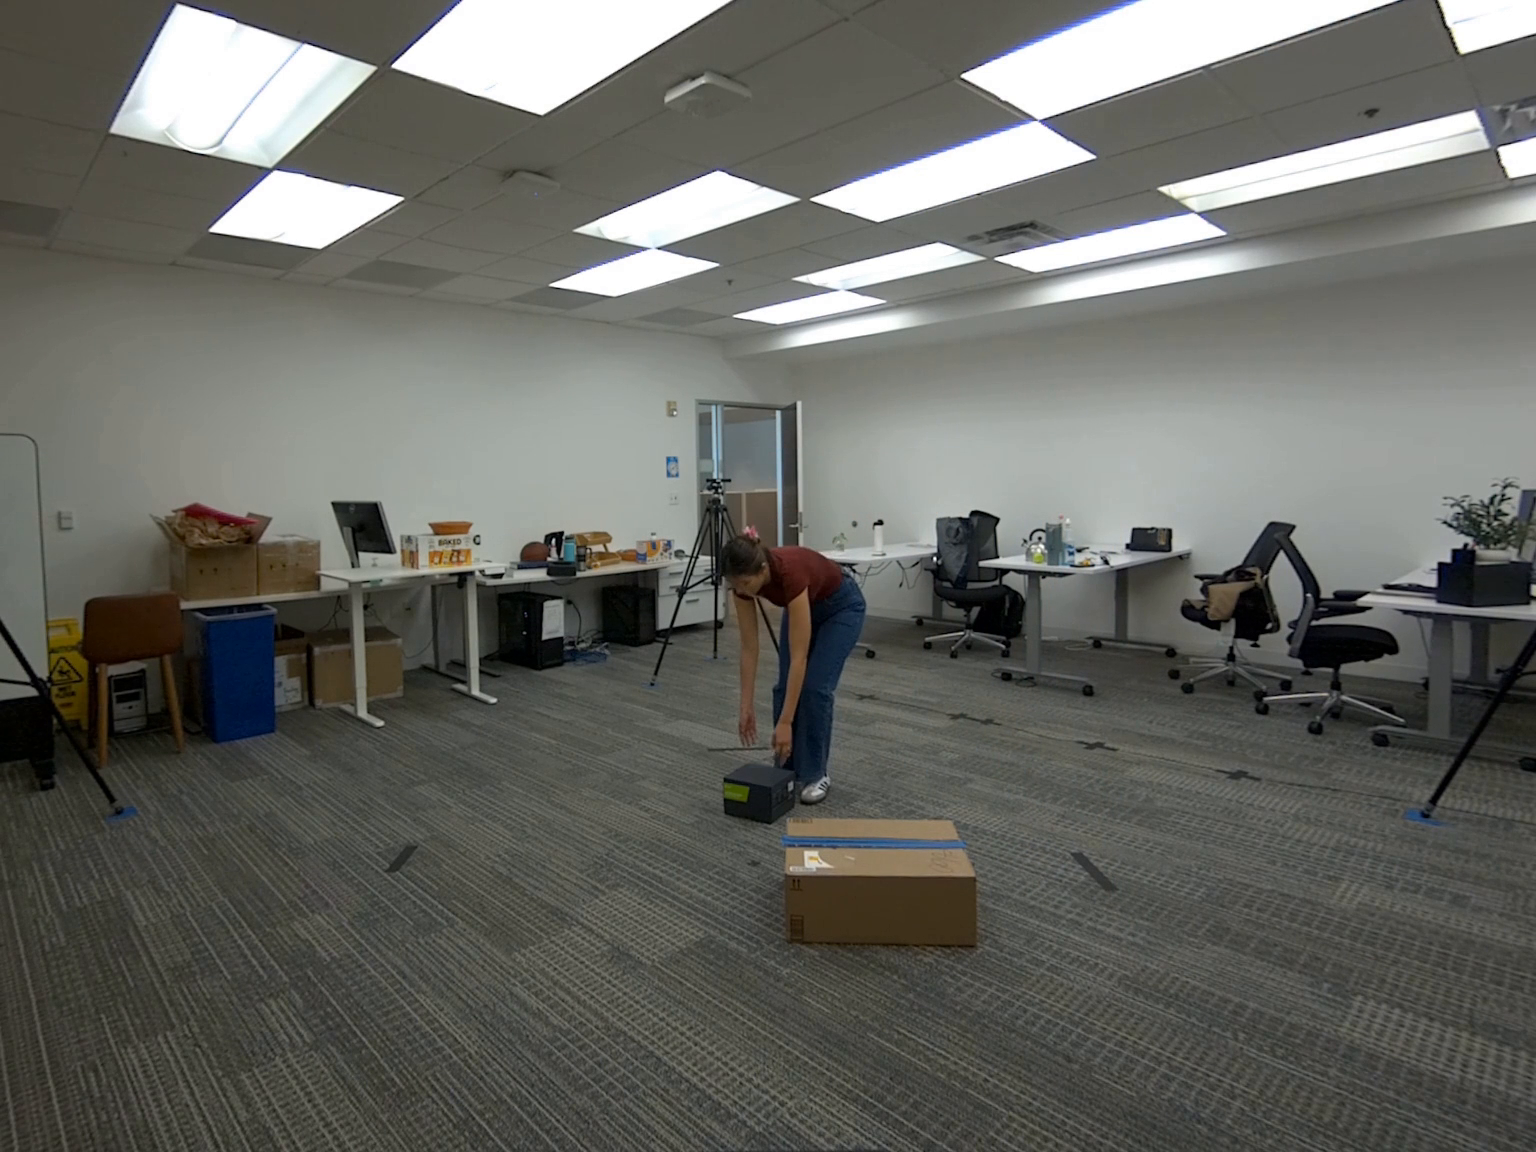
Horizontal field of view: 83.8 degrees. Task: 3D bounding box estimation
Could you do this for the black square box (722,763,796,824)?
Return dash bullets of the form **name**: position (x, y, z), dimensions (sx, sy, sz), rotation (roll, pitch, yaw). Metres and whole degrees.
- **black square box**: position (-0.037, 0.905, 3.591), dimensions (0.234, 0.155, 0.212), rotation (3, 6, 31)
